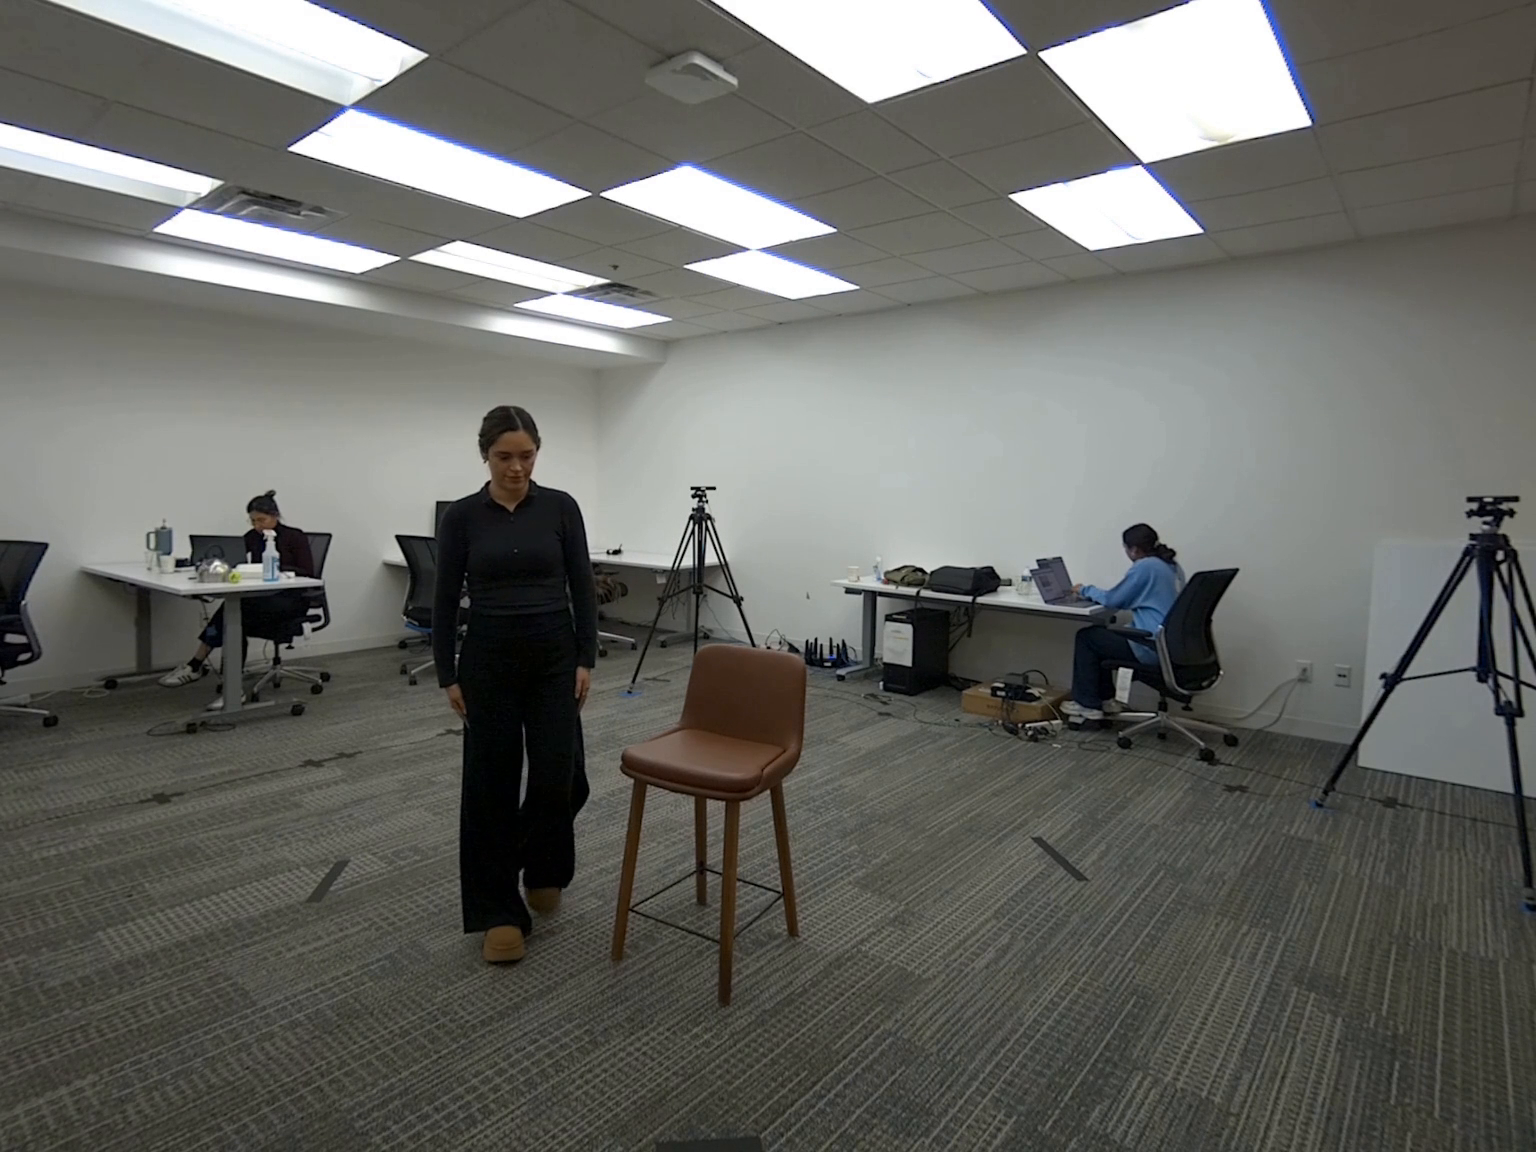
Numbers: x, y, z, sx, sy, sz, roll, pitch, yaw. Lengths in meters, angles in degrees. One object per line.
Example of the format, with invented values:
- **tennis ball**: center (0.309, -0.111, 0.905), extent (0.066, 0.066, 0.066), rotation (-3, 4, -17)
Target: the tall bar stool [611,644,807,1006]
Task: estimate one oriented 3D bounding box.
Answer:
- **tall bar stool**: center (-0.172, 0.687, 2.547), extent (0.470, 0.888, 0.454), rotation (4, 3, 32)
